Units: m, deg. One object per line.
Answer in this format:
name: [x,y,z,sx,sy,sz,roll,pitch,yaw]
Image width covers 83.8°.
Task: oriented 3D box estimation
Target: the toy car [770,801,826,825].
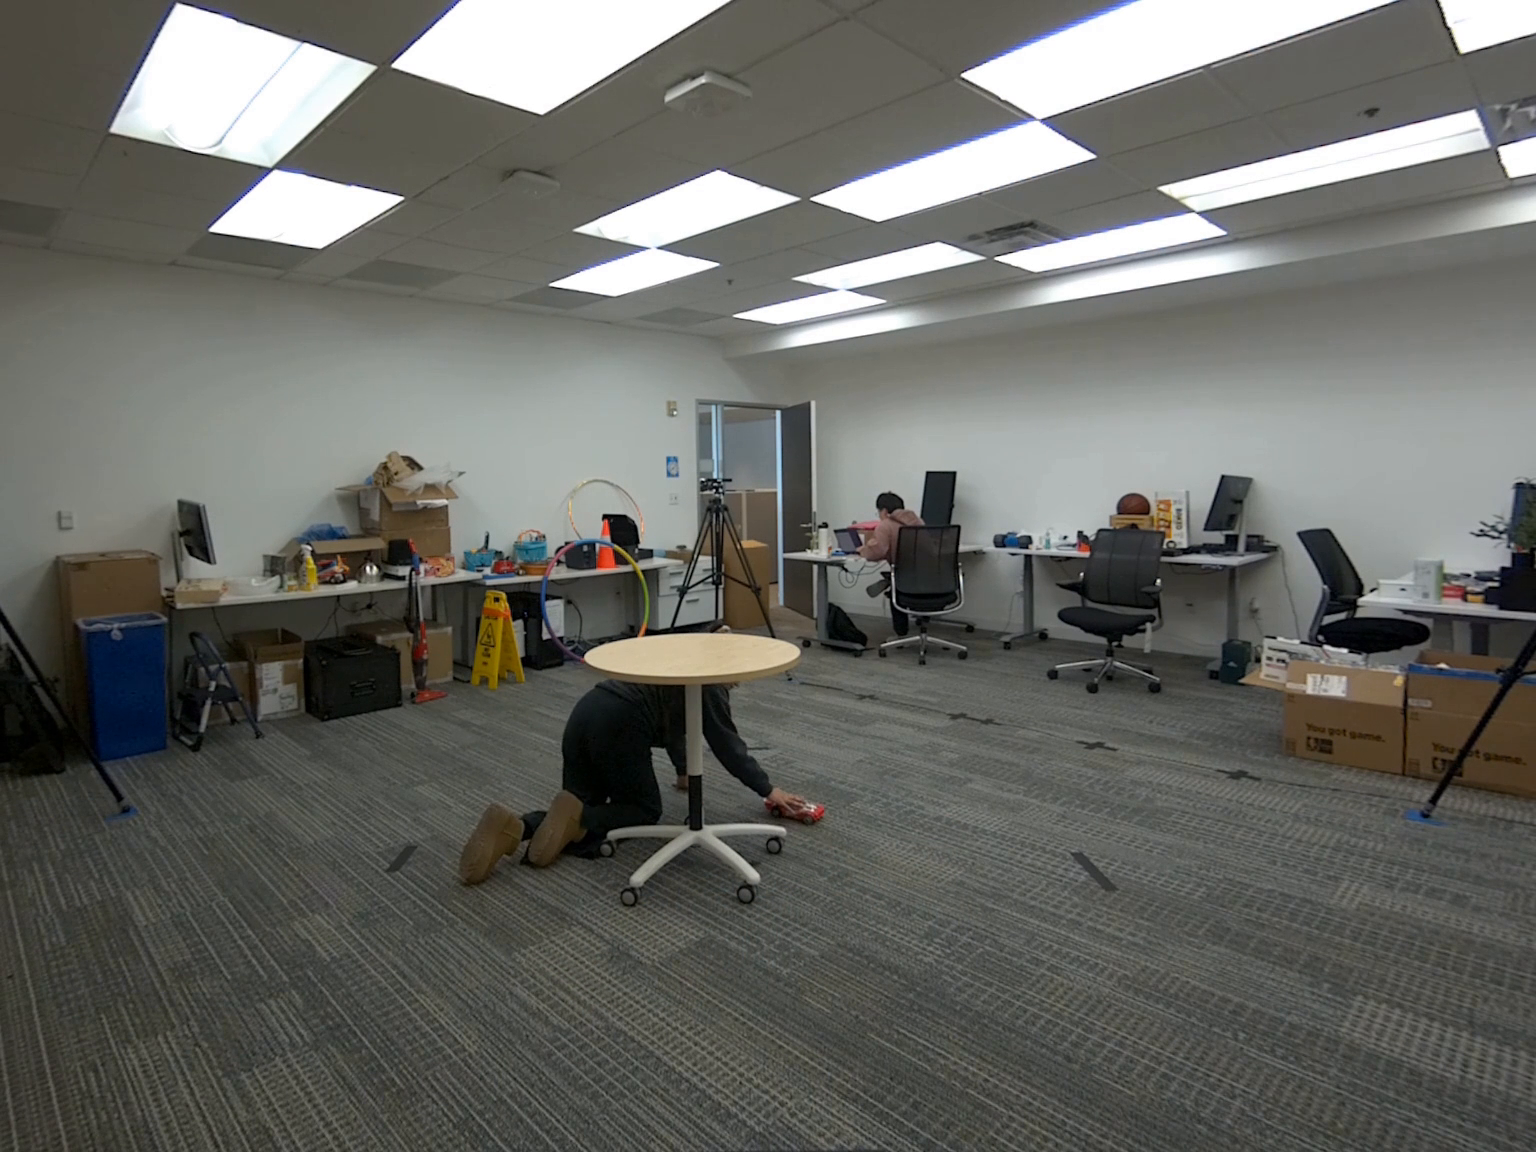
toy car: [0.101,0.957,3.514,0.262,0.082,0.127,15,14,29]
